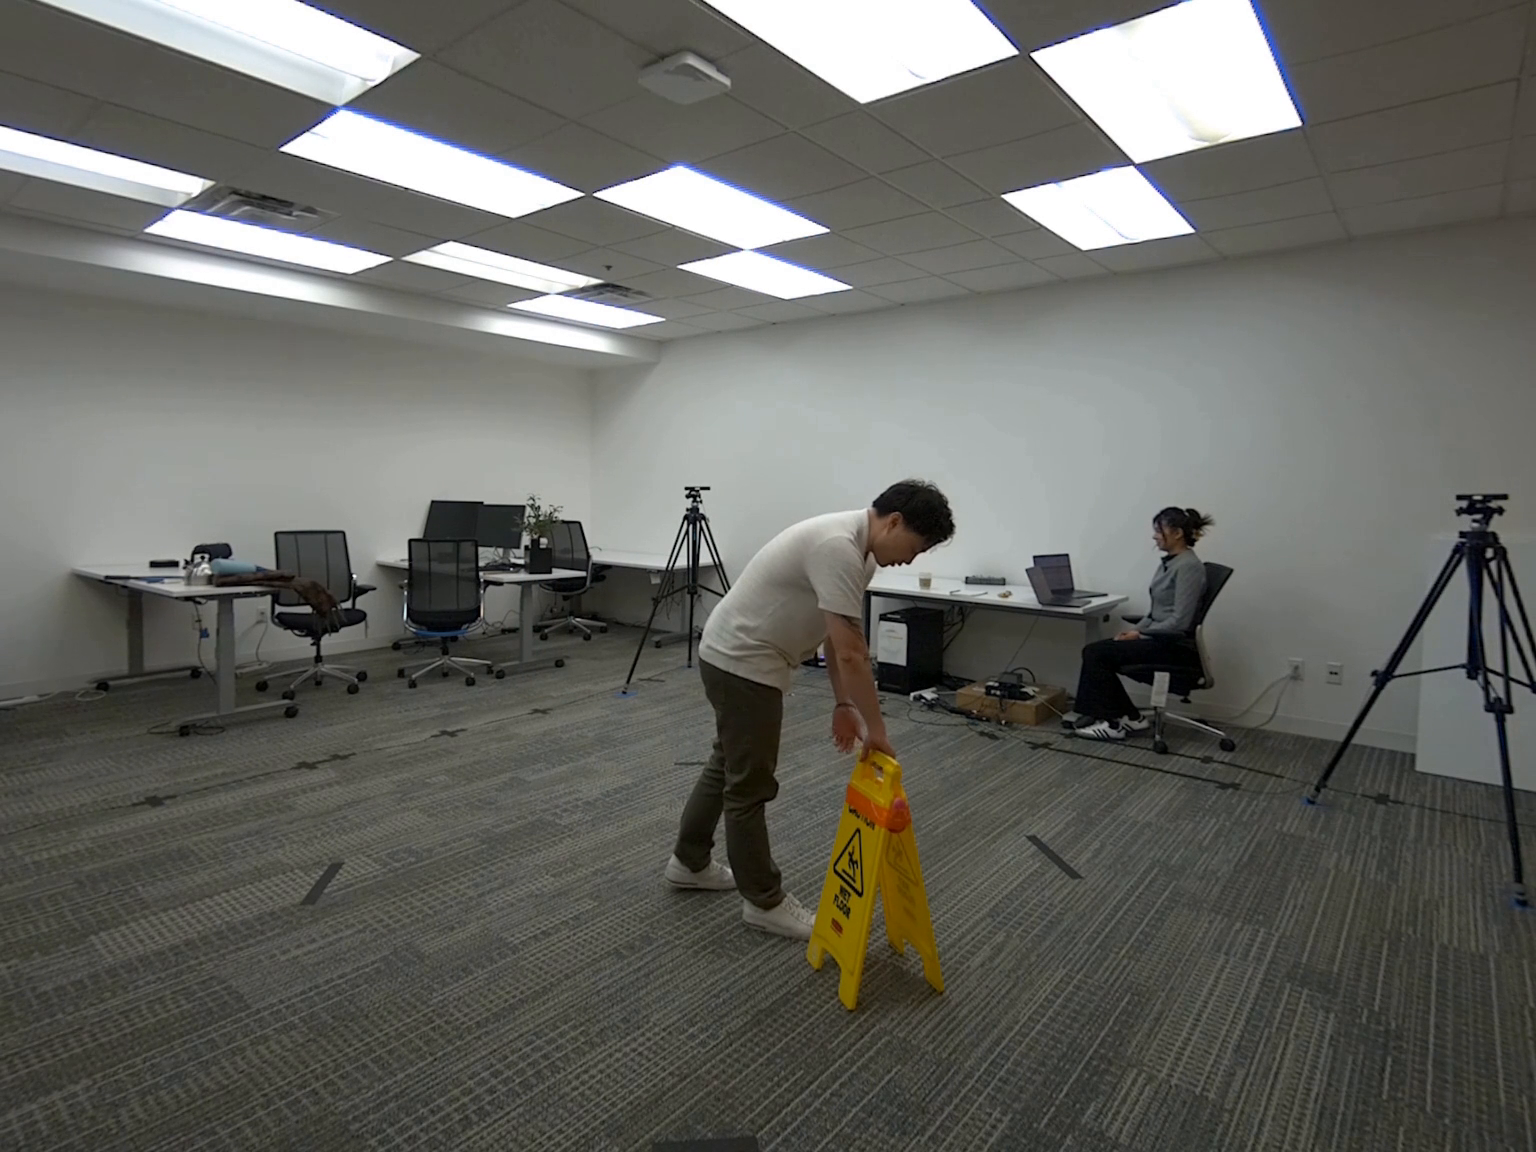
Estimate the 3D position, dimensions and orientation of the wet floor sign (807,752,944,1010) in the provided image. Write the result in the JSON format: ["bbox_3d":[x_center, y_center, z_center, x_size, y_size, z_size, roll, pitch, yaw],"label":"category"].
[{"bbox_3d":[0.306,0.818,2.424,0.284,0.644,0.289,0,4,-21],"label":"wet floor sign"}]
